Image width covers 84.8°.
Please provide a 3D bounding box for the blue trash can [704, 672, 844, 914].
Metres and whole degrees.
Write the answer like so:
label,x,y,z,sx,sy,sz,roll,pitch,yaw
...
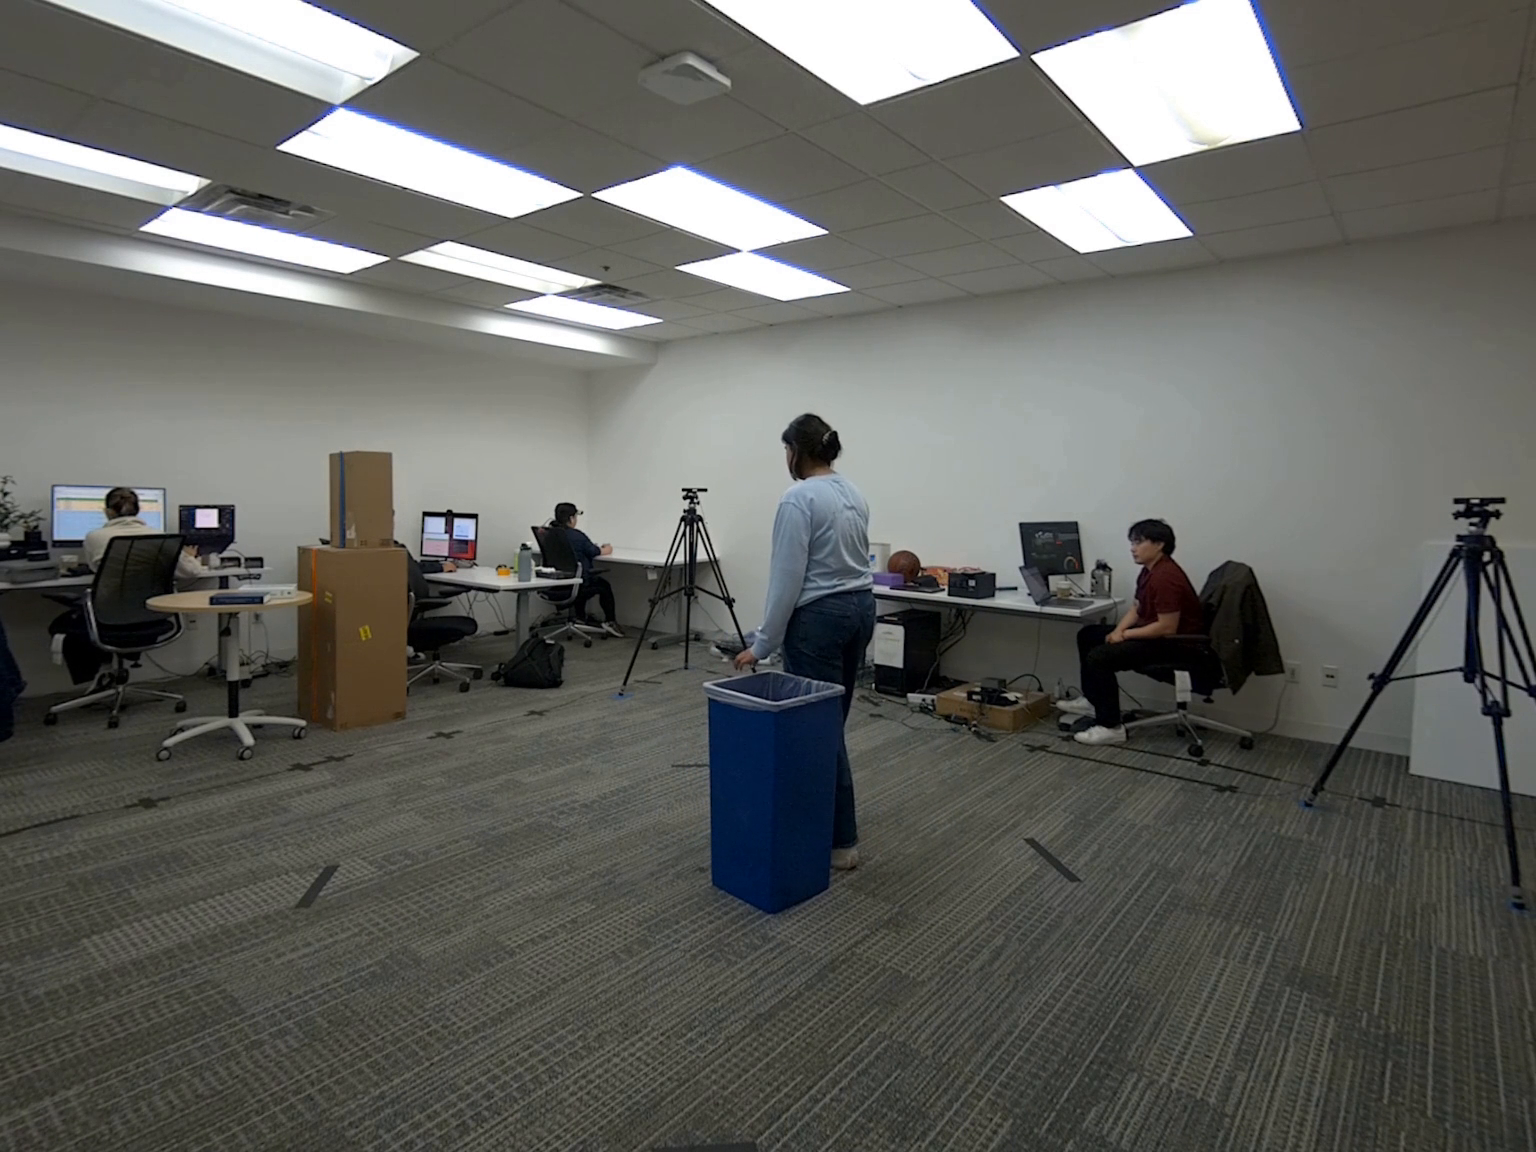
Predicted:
label,x,y,z,sx,sy,sz,roll,pitch,yaw
blue trash can,0.004,0.730,2.962,0.362,0.712,0.391,-1,3,-45
